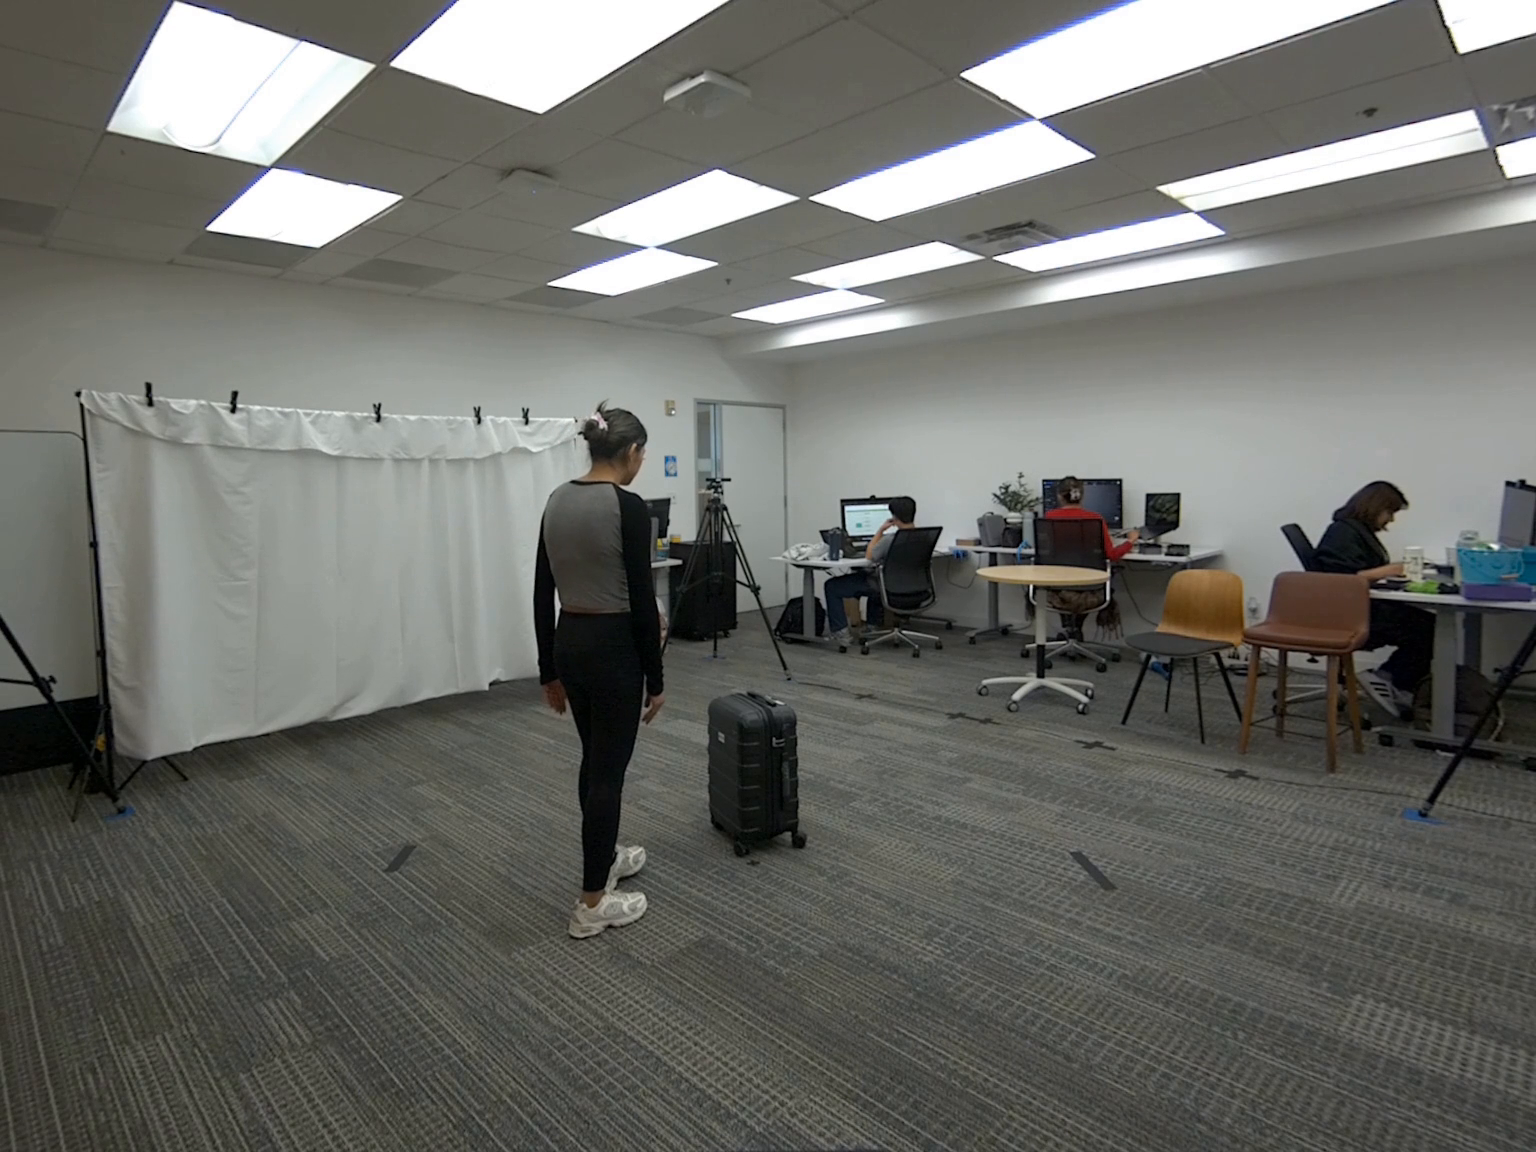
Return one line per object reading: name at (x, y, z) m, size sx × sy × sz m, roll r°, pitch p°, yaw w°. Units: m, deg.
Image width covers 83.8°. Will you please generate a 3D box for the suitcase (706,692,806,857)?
suitcase at (-0.059, 0.741, 3.309) m, size 0.243 × 0.547 × 0.385 m, roll -4°, pitch 6°, yaw -26°
